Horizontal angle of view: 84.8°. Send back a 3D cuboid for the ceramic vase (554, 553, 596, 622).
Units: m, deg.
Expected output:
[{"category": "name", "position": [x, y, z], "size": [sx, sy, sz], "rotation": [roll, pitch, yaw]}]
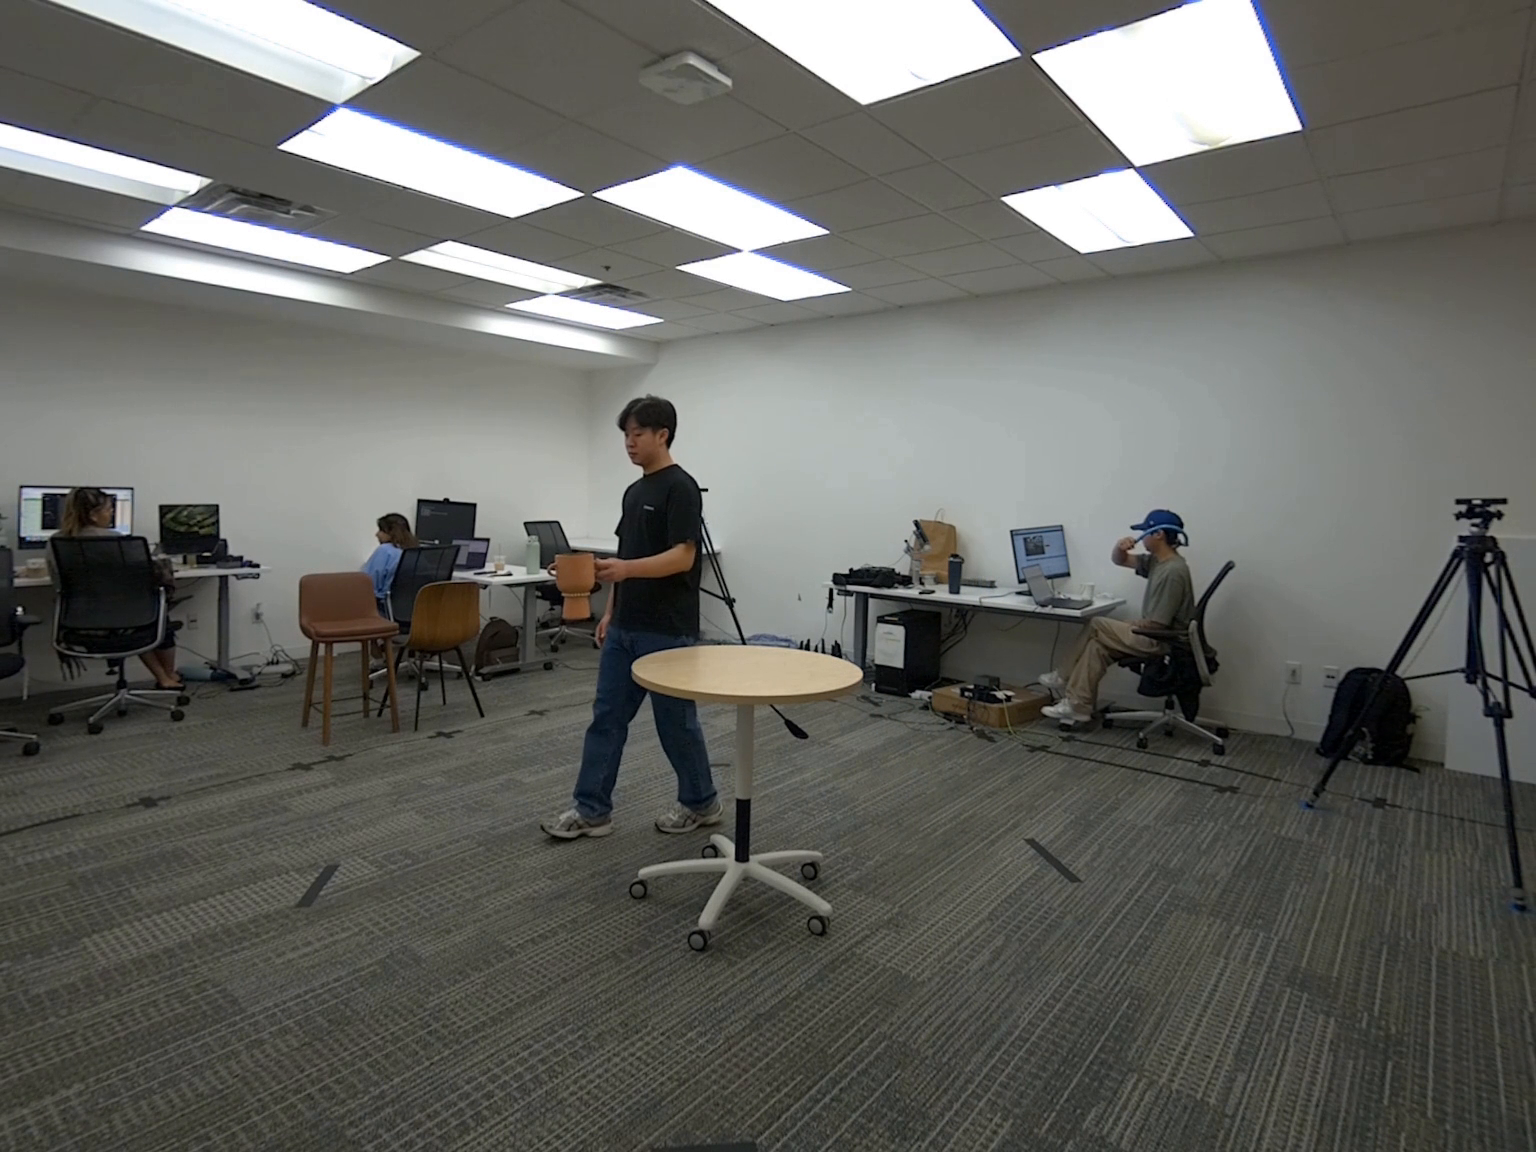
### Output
[{"category": "ceramic vase", "position": [-0.688, 0.028, 2.978], "size": [0.160, 0.219, 0.133], "rotation": [-2, 2, 8]}]
